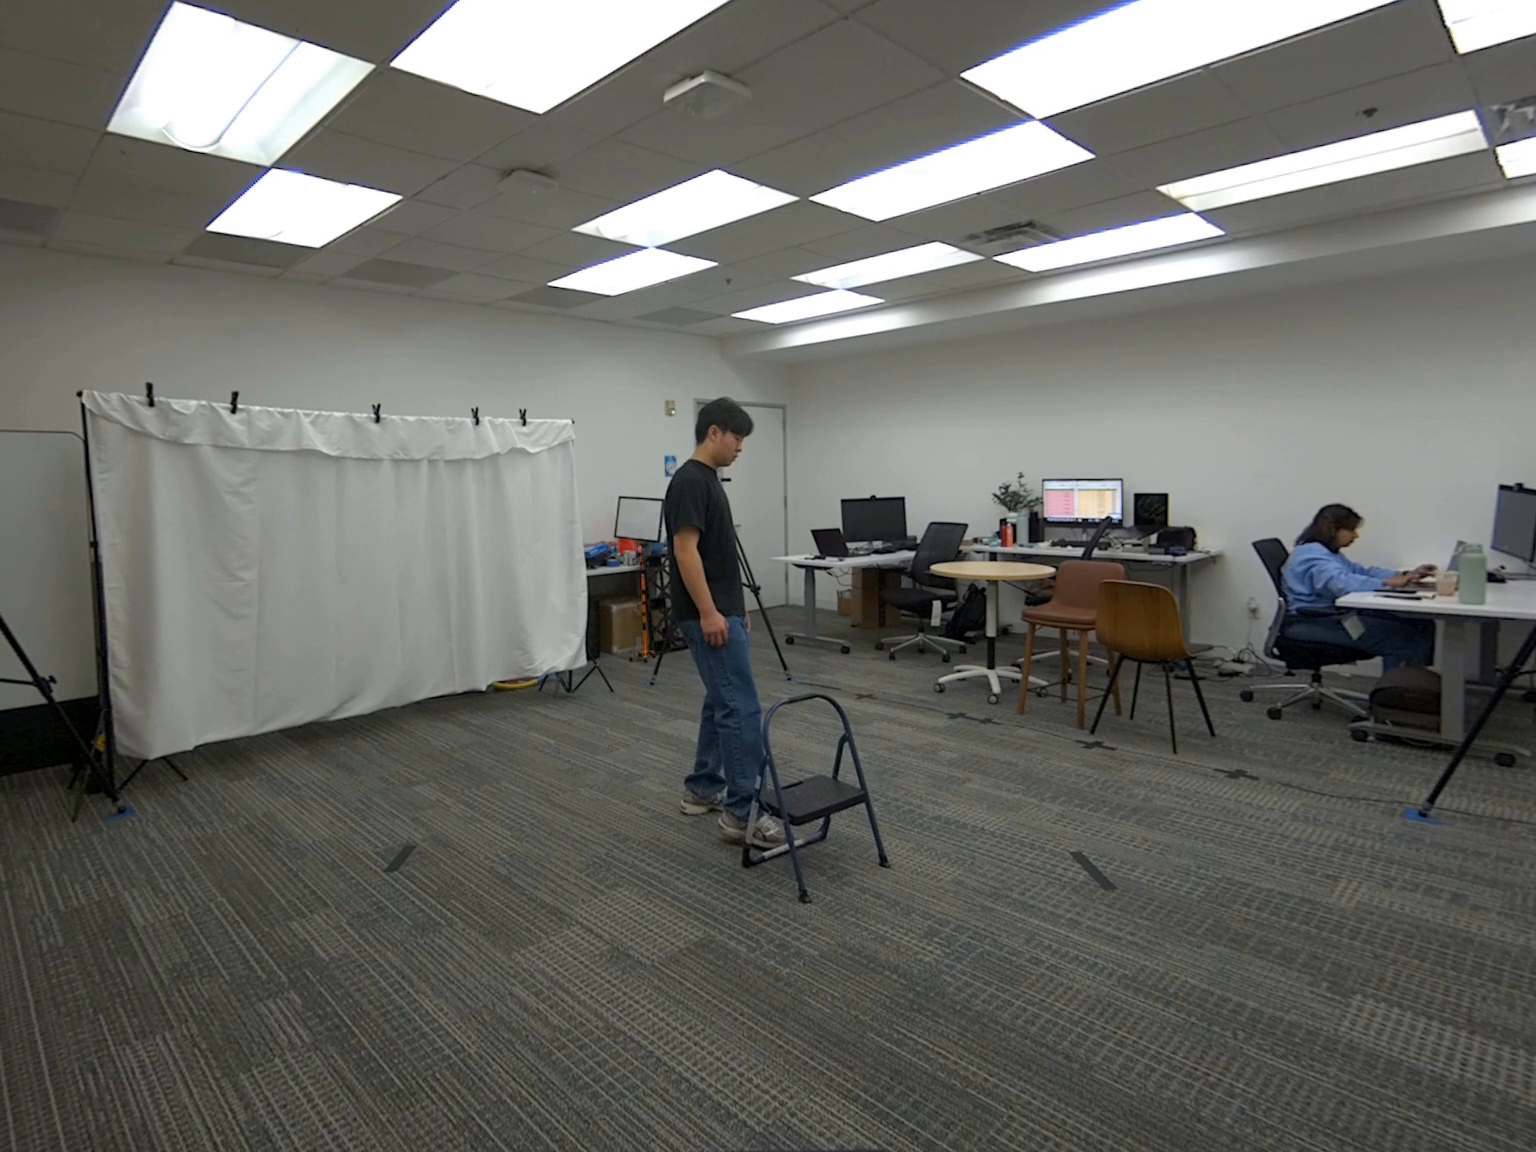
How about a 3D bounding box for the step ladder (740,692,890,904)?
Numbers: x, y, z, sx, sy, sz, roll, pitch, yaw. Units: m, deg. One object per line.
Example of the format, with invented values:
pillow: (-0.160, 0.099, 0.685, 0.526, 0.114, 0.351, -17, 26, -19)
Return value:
step ladder: (0.161, 0.738, 3.057, 0.419, 0.604, 0.360, -4, 5, -40)
